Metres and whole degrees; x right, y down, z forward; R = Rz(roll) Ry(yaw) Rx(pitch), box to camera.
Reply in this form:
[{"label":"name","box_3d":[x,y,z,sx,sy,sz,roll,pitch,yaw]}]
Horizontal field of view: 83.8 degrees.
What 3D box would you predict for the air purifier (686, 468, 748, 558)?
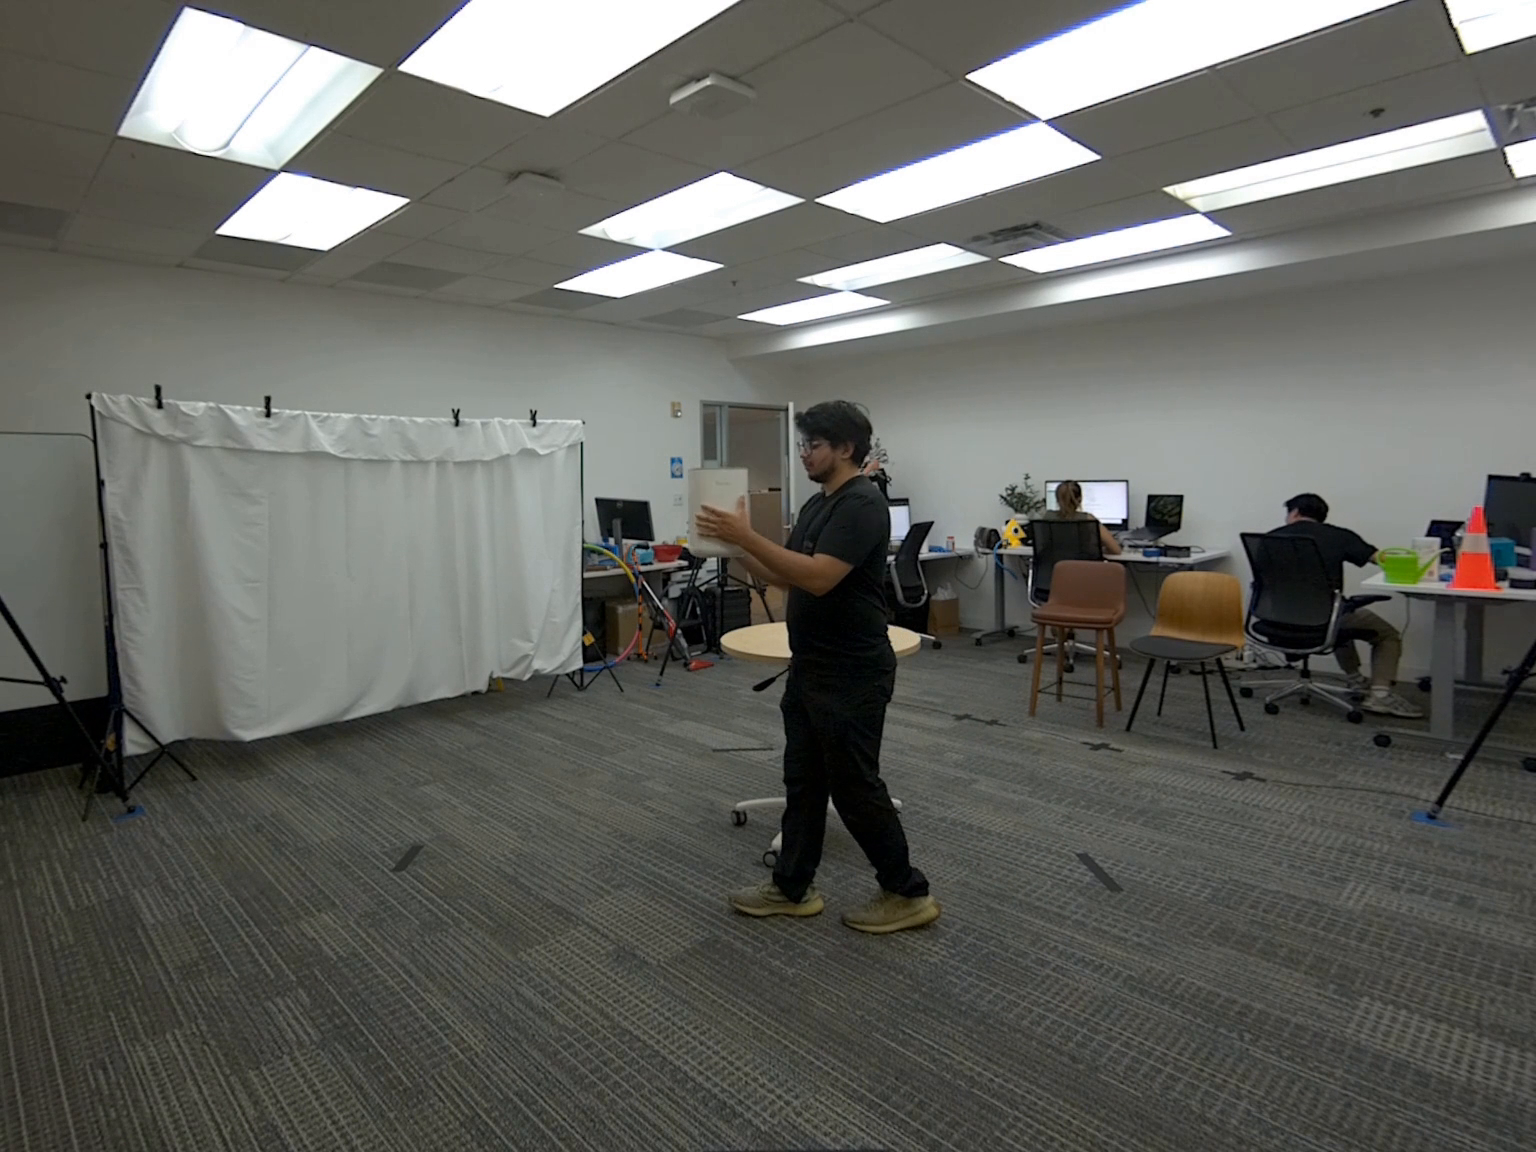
[{"label":"air purifier","box_3d":[-0.140,-0.191,2.579,0.170,0.264,0.174,1,5,-9]}]
